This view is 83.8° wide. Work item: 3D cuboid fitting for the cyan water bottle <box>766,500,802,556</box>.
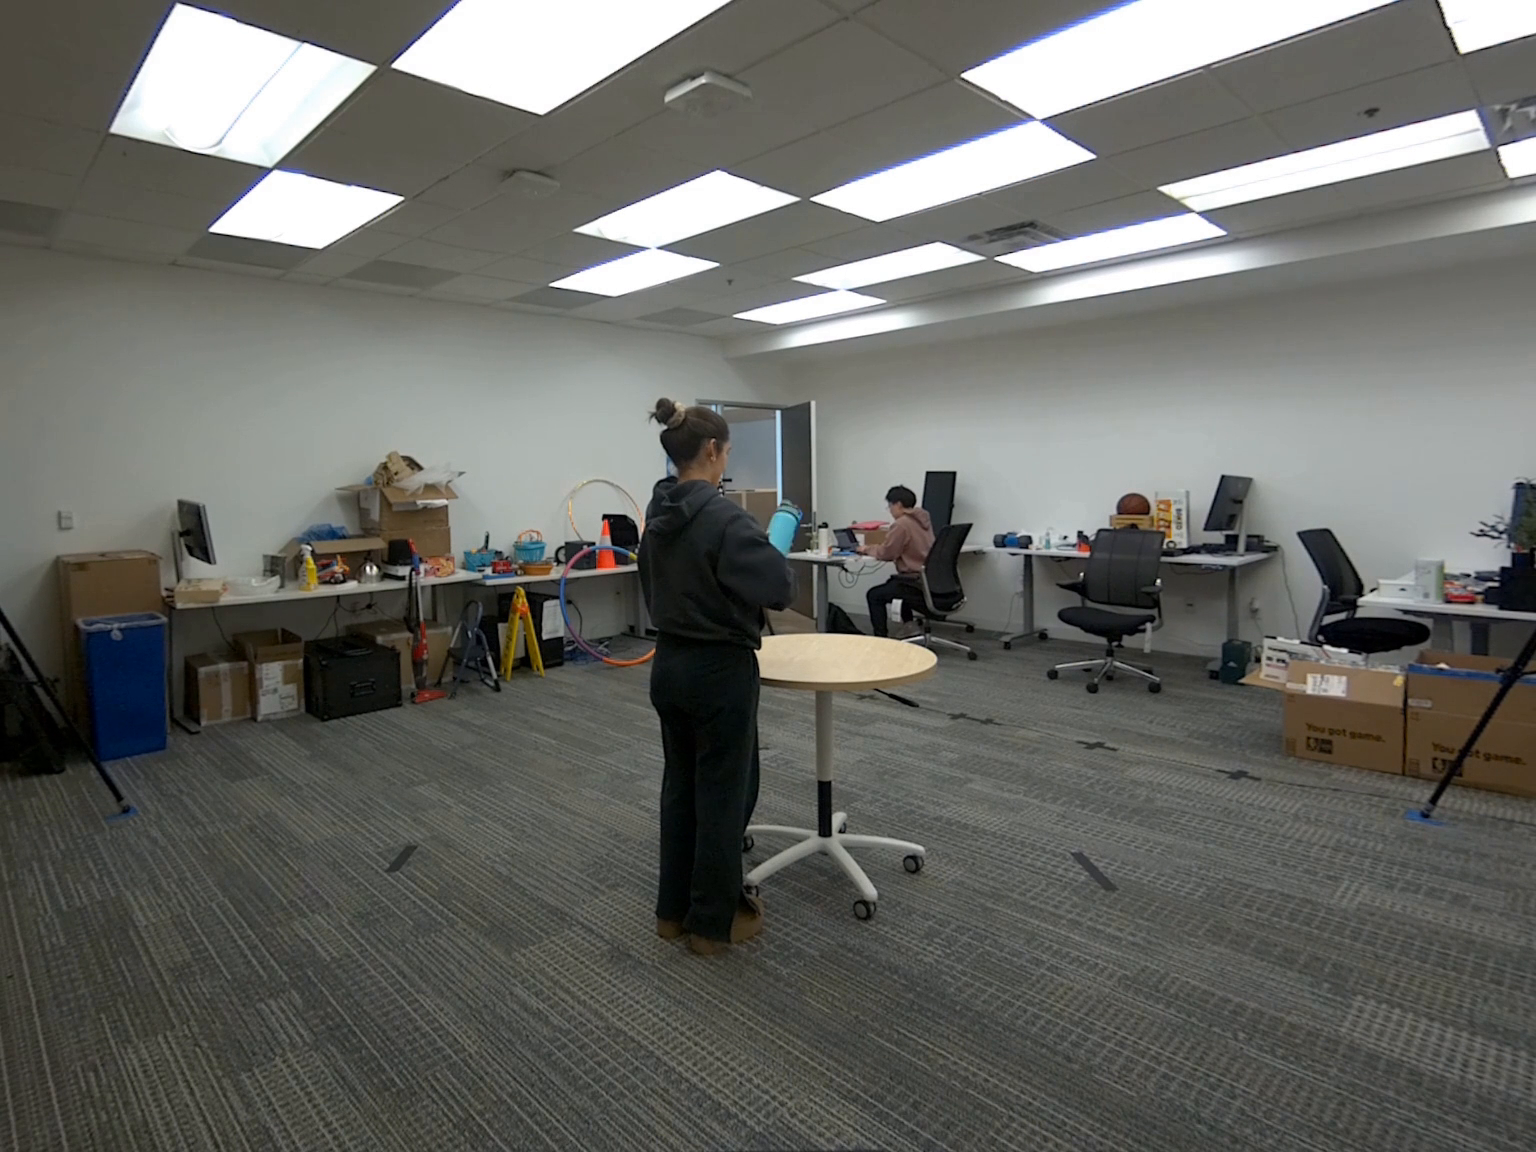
[{"bbox_3d":[0.034,-0.114,2.775,0.093,0.286,0.090,19,-23,7],"label":"cyan water bottle"}]
